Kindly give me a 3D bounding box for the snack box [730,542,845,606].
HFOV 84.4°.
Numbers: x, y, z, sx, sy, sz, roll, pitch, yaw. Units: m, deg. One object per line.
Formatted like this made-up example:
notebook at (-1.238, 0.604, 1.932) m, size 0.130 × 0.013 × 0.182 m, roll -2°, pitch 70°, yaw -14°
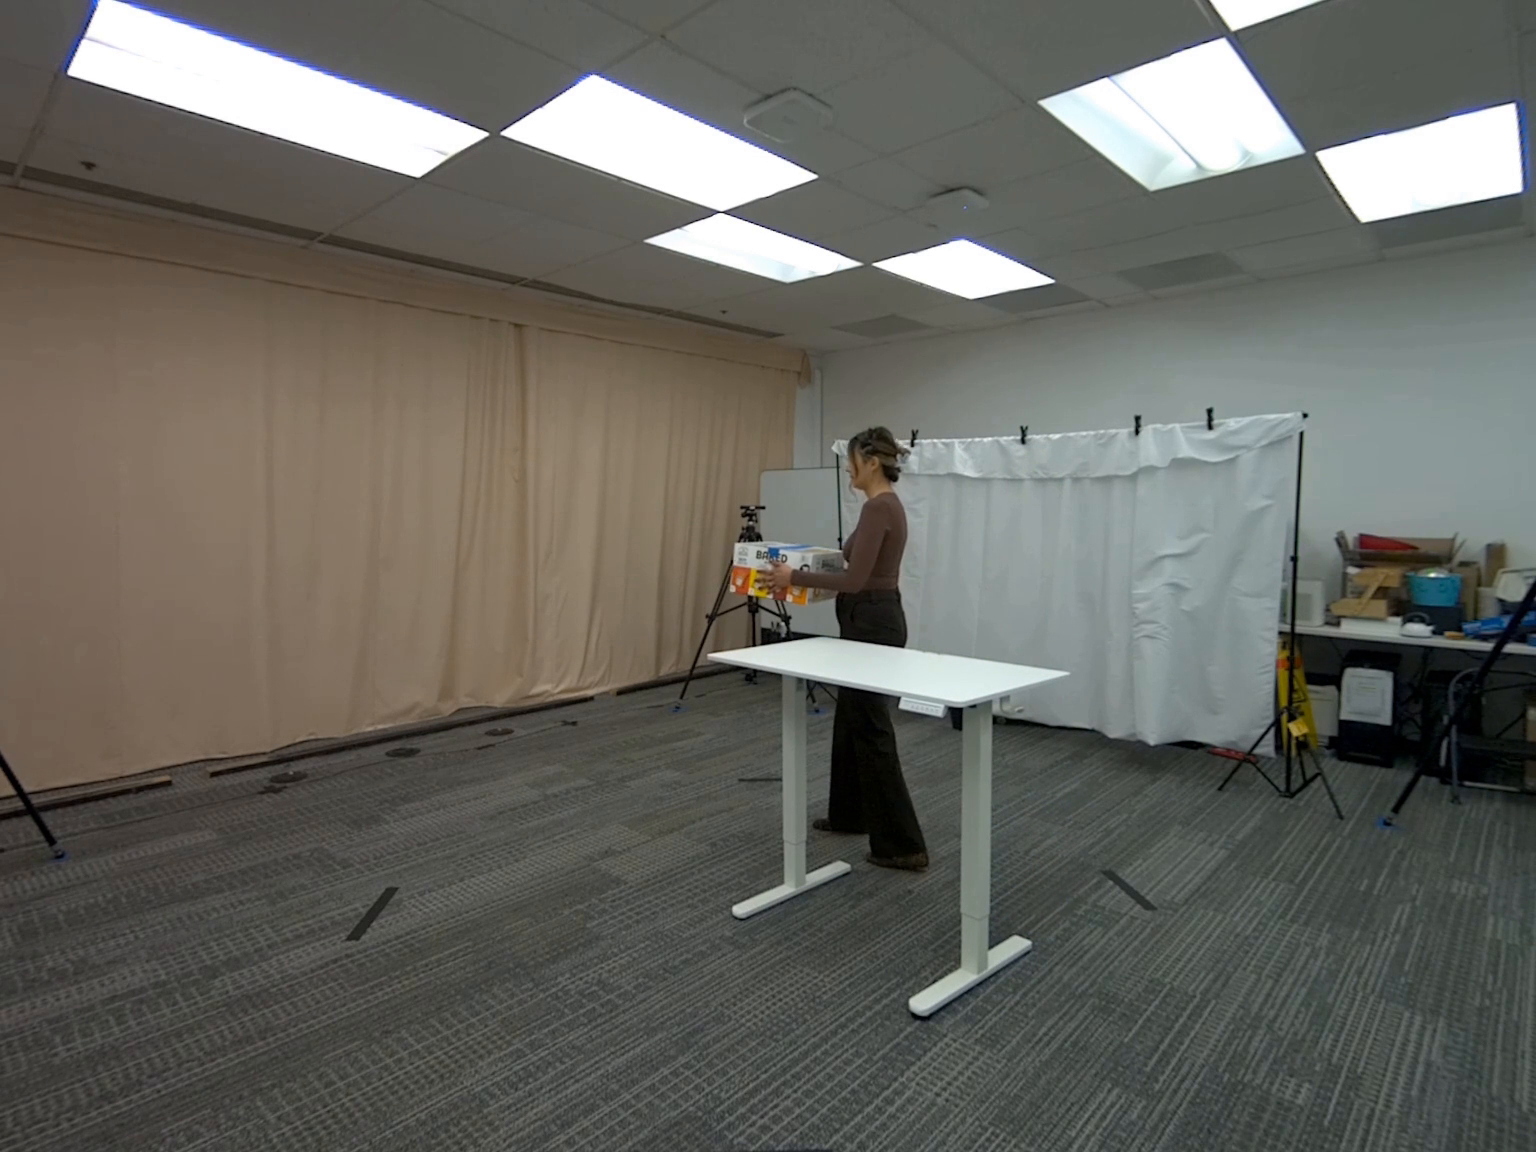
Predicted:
snack box at (0.094, -0.018, 3.533) m, size 0.350 × 0.205 × 0.395 m, roll 9°, pitch 7°, yaw 26°
